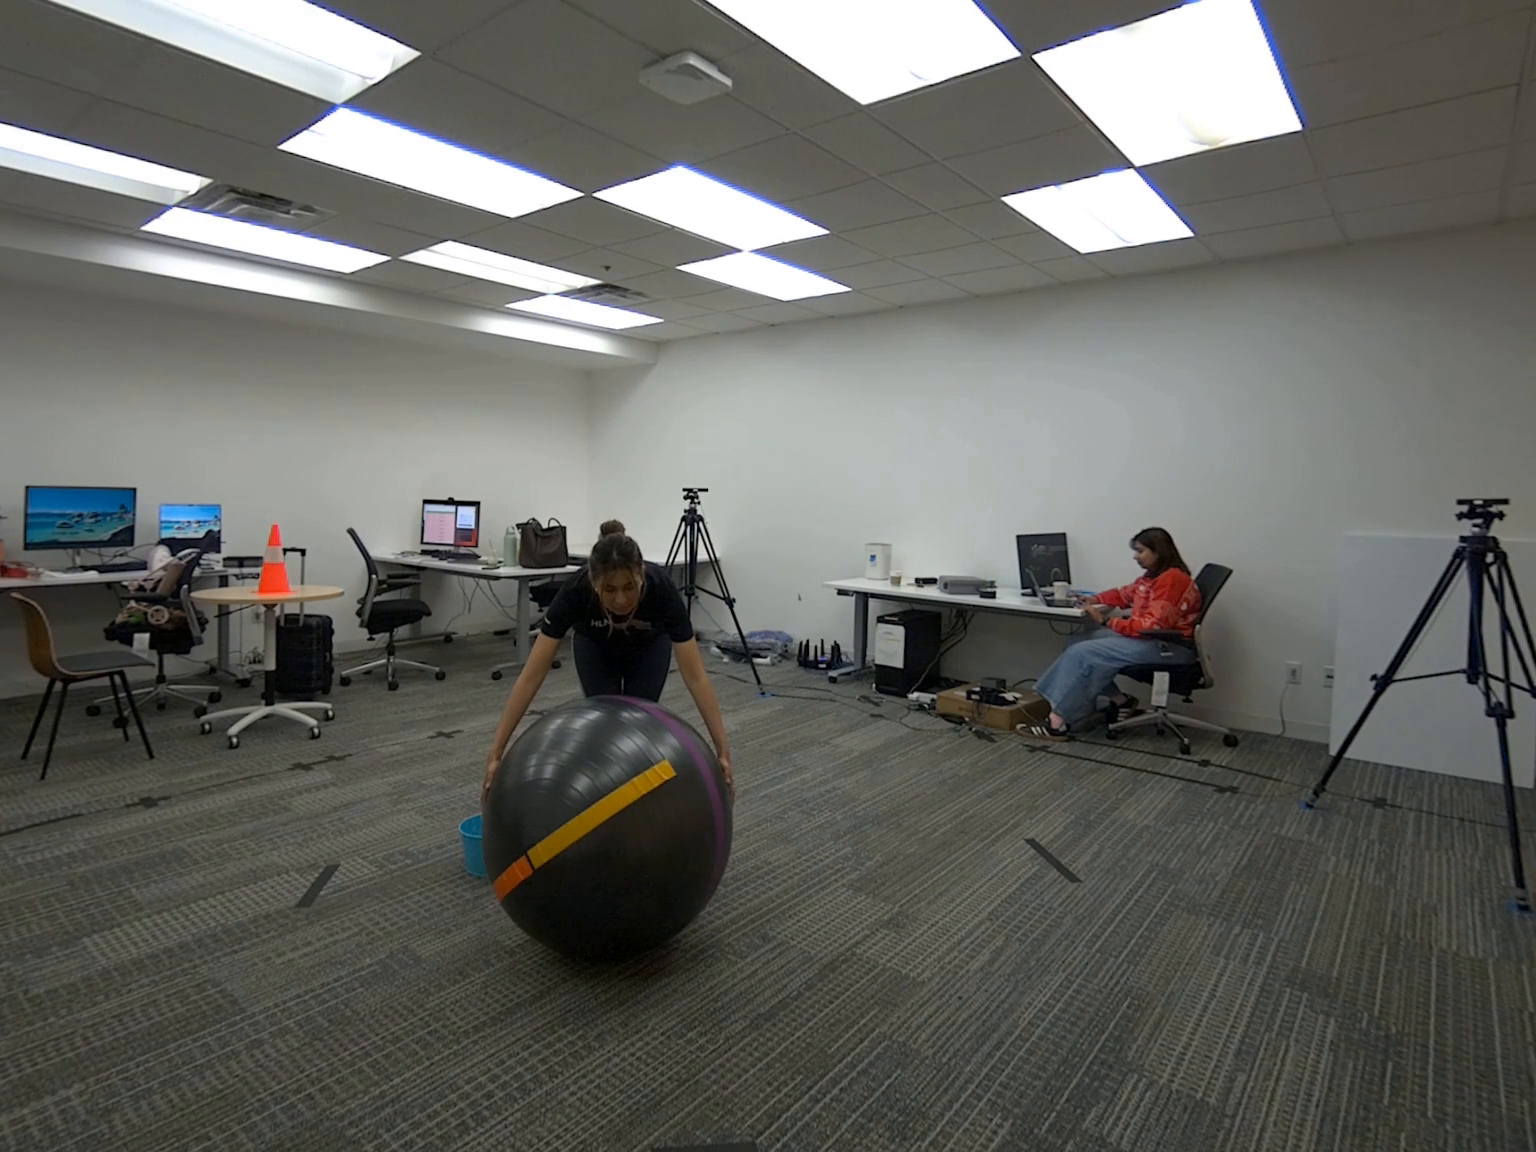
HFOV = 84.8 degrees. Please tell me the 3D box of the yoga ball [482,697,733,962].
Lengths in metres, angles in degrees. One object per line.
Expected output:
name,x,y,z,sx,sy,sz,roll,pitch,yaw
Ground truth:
yoga ball,-0.490,0.740,2.581,0.757,0.756,0.762,1,4,-2
